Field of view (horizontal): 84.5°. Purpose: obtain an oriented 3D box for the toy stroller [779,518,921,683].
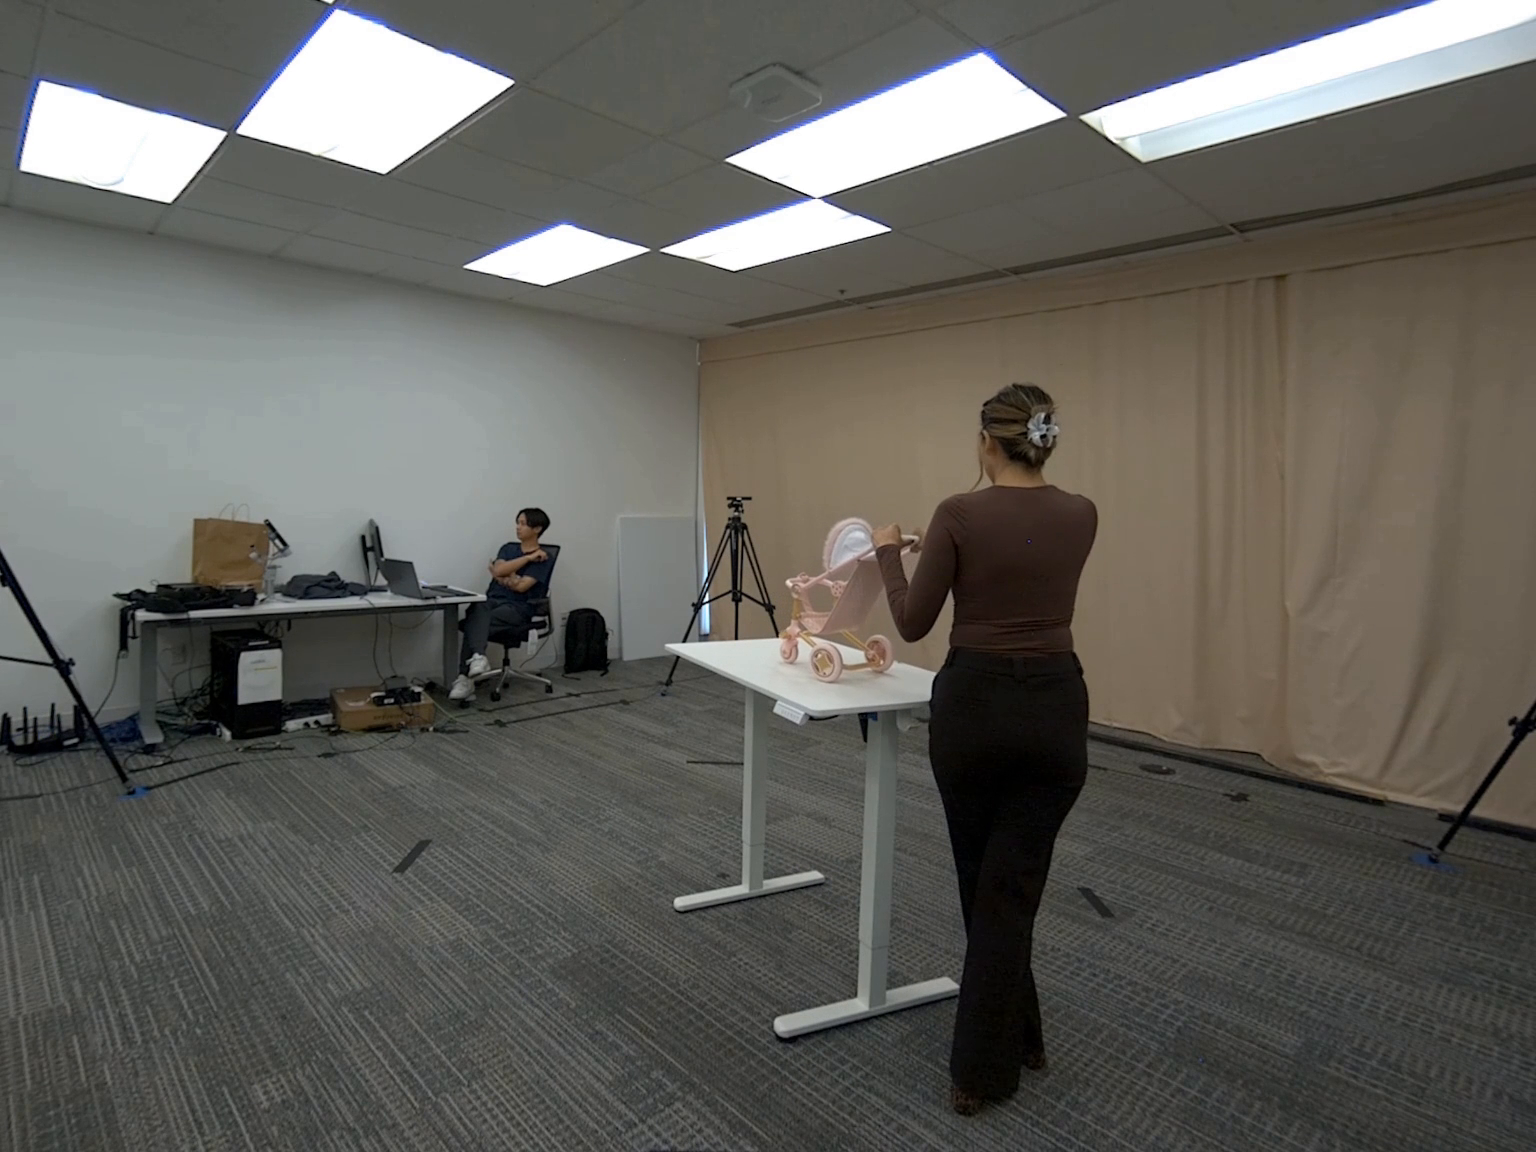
[{"bbox_3d":[0.214,0.069,2.465,0.275,0.531,0.352,1,20,-41],"label":"toy stroller"}]
